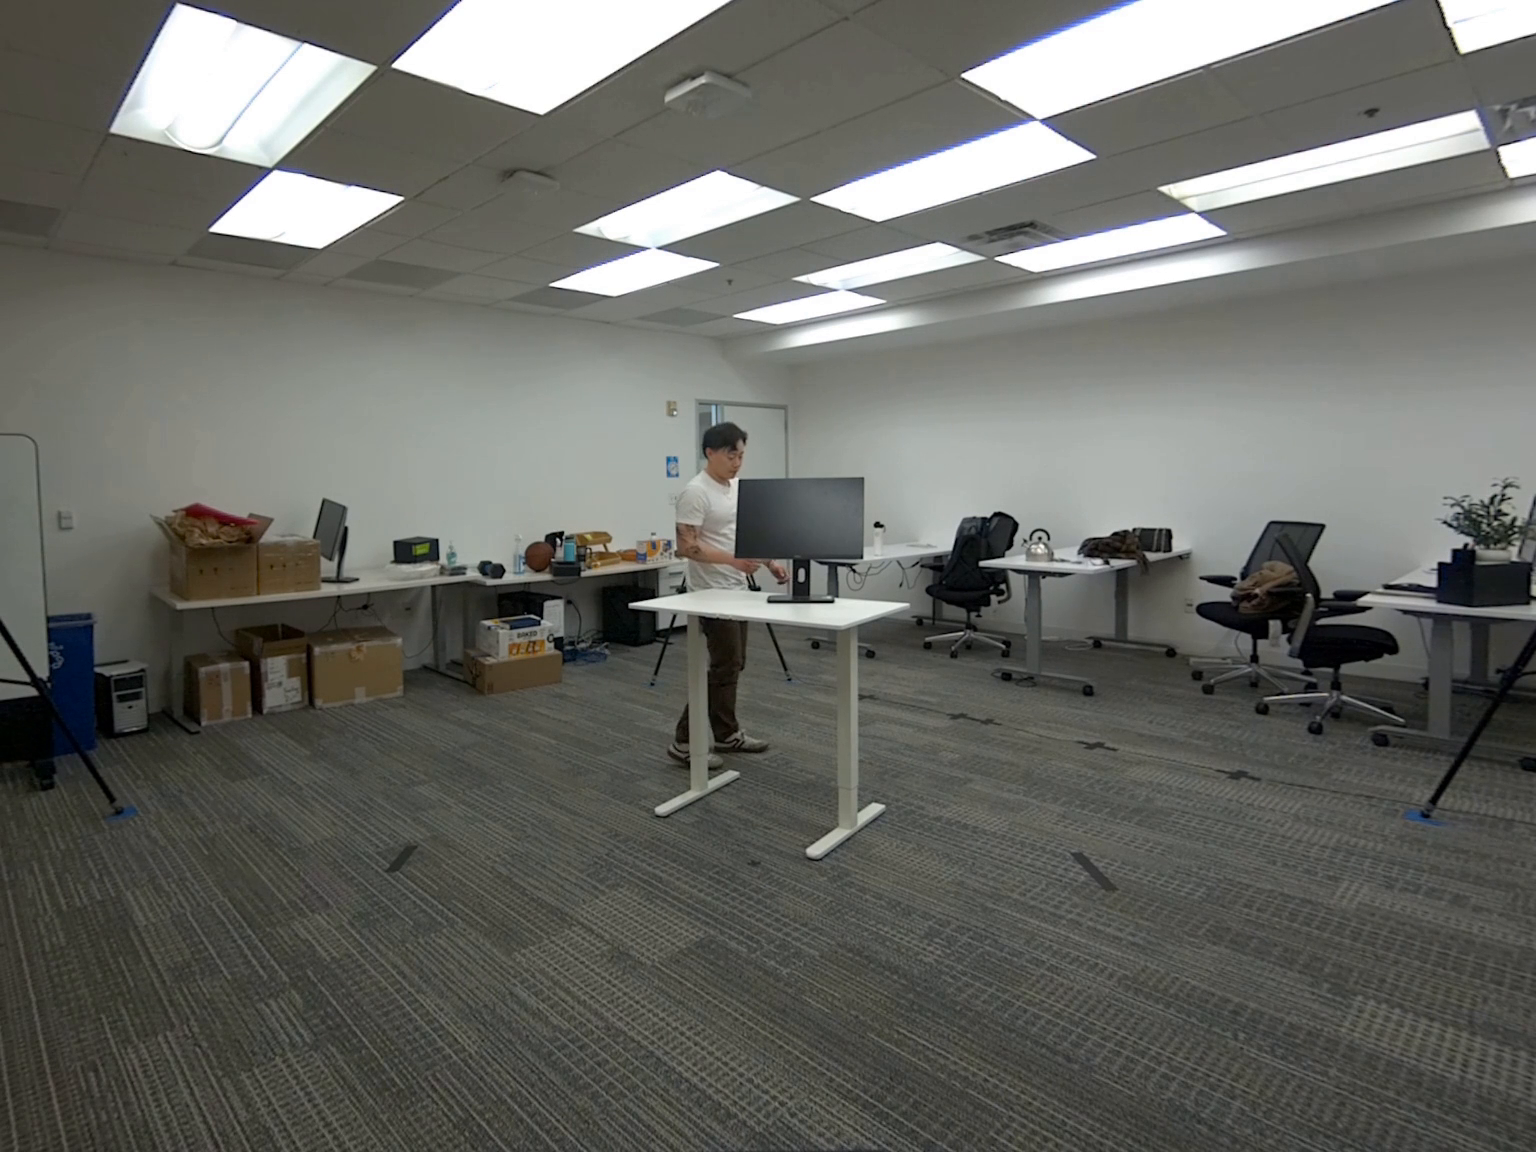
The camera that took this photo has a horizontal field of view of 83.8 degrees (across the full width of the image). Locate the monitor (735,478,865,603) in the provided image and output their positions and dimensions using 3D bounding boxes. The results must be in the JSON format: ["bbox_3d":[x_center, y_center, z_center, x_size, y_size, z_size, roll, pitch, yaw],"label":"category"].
[{"bbox_3d":[0.136,-0.151,3.610,0.545,0.522,0.185,0,0,10],"label":"monitor"}]
